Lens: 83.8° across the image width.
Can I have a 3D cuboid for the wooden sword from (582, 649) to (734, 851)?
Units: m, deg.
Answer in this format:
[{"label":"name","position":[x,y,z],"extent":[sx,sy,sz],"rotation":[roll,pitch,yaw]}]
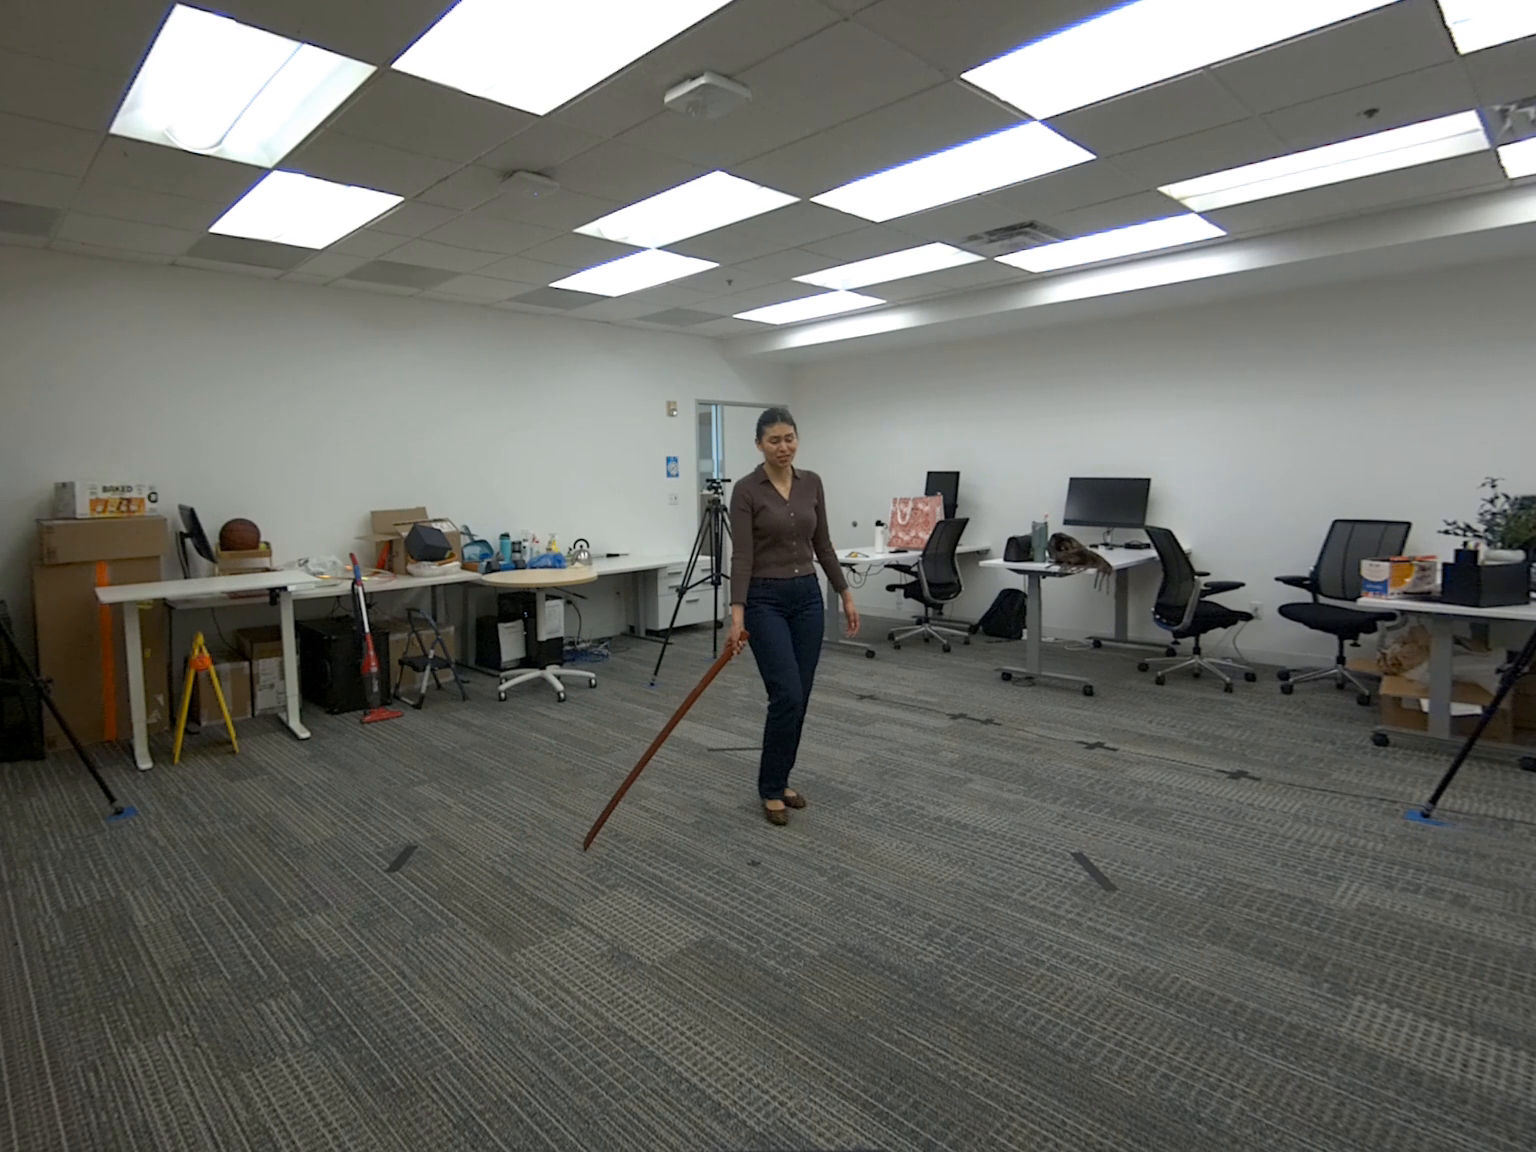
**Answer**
[{"label":"wooden sword","position":[-0.412,0.622,3.298],"extent":[0.024,1.026,0.050],"rotation":[33,-7,12]}]
